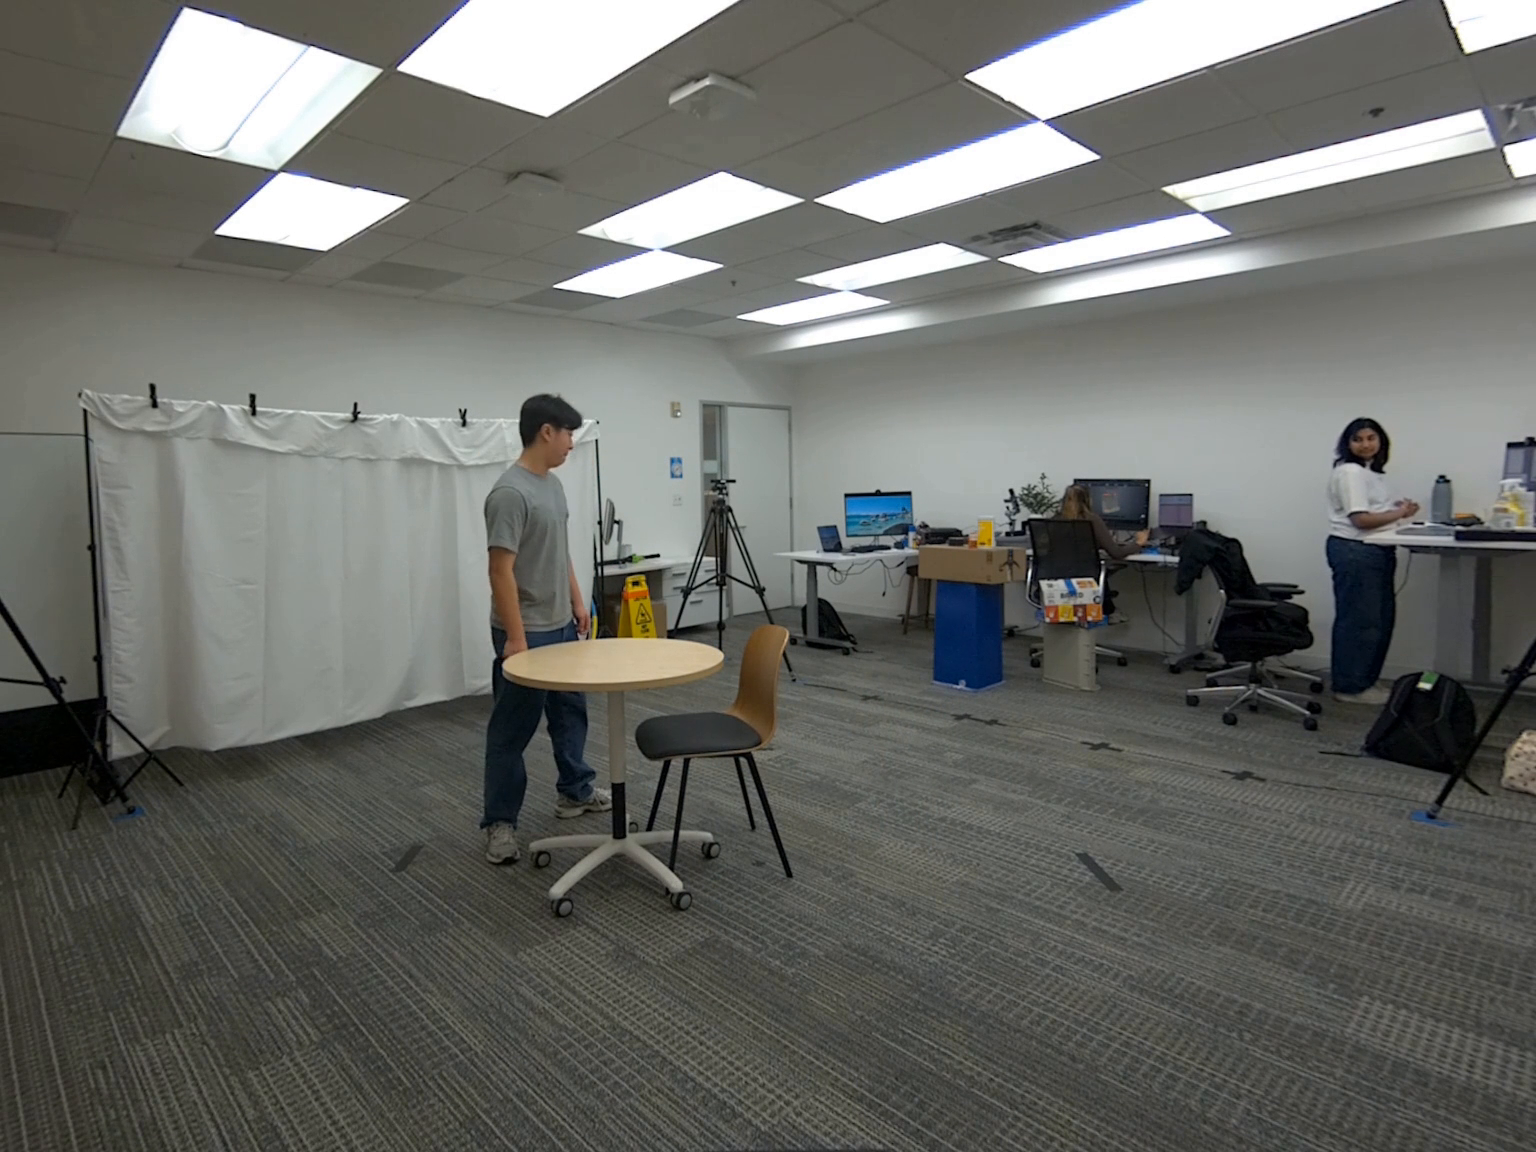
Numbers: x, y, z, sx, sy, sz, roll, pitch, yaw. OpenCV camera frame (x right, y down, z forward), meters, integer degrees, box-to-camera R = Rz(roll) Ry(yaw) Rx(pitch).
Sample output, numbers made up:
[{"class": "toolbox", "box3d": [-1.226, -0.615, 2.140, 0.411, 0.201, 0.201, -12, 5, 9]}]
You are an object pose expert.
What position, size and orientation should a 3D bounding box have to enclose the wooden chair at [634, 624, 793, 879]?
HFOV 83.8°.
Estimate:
[{"class": "wooden chair", "box3d": [-0.207, 0.618, 3.109, 0.515, 0.875, 0.487, 2, 3, -17]}]
